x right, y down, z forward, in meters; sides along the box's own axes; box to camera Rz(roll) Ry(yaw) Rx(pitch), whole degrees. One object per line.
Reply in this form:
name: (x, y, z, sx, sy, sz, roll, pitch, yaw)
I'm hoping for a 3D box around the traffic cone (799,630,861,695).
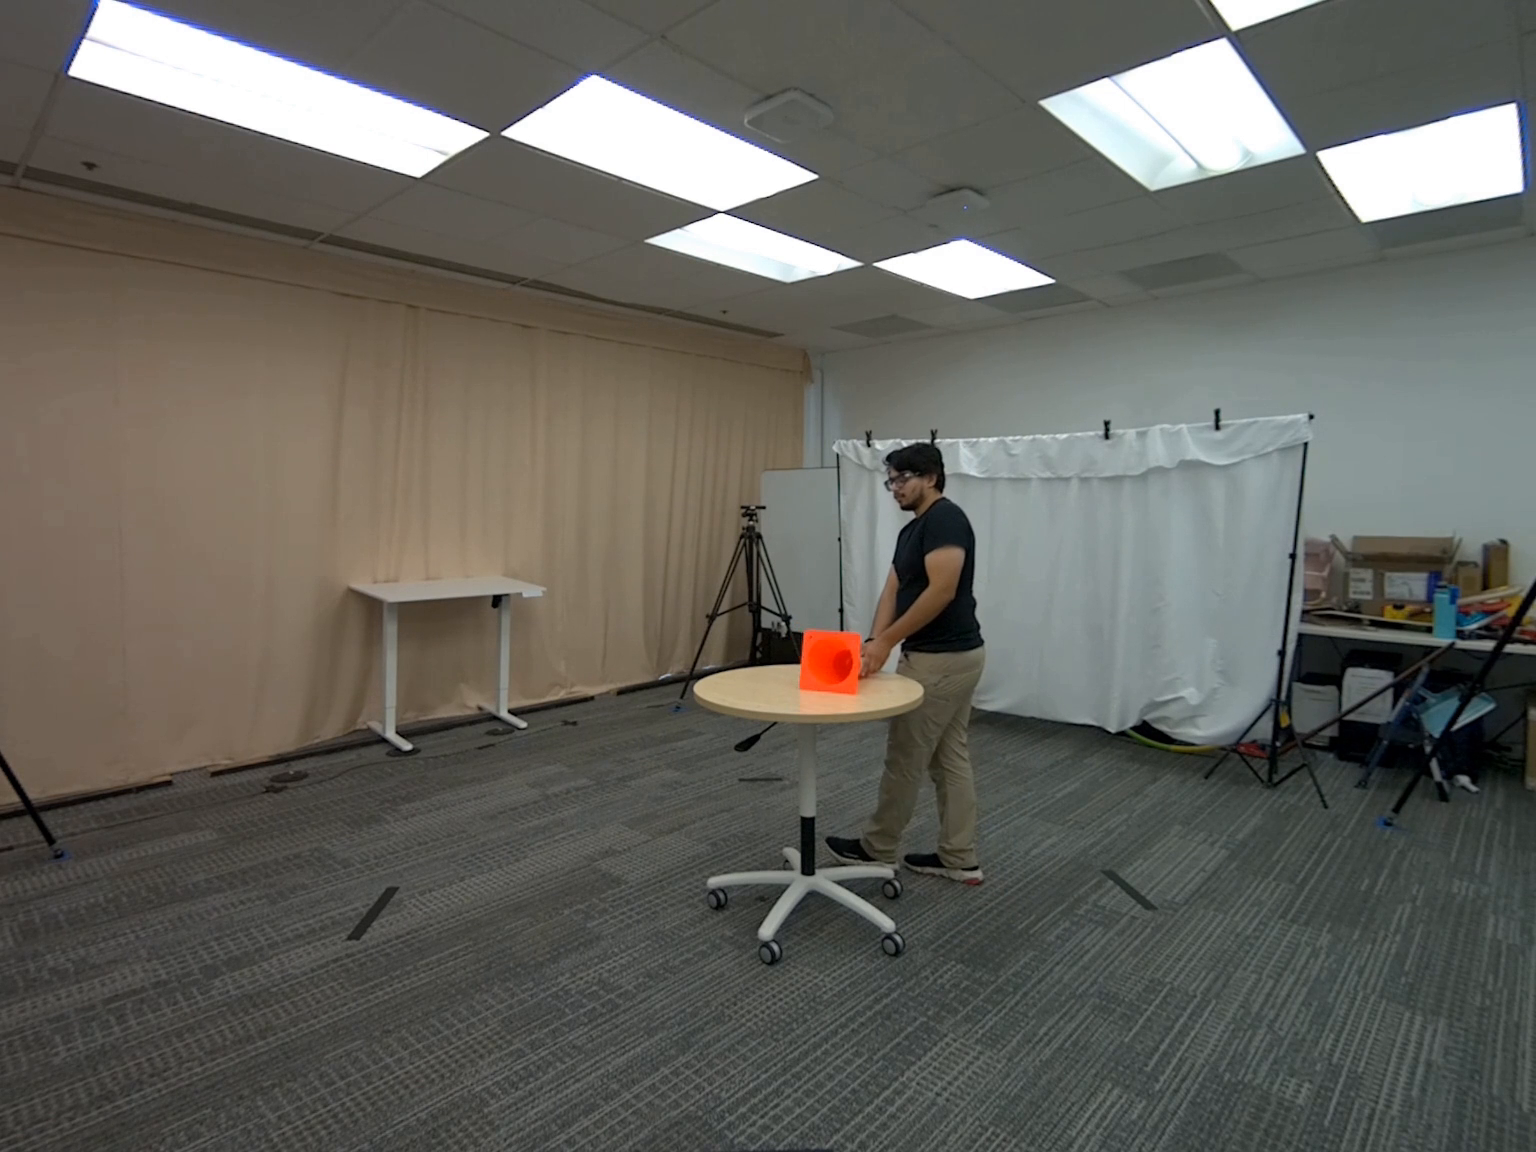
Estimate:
traffic cone: (0.269, 0.309, 2.919, 0.210, 0.204, 0.373, -1, -10, 23)
